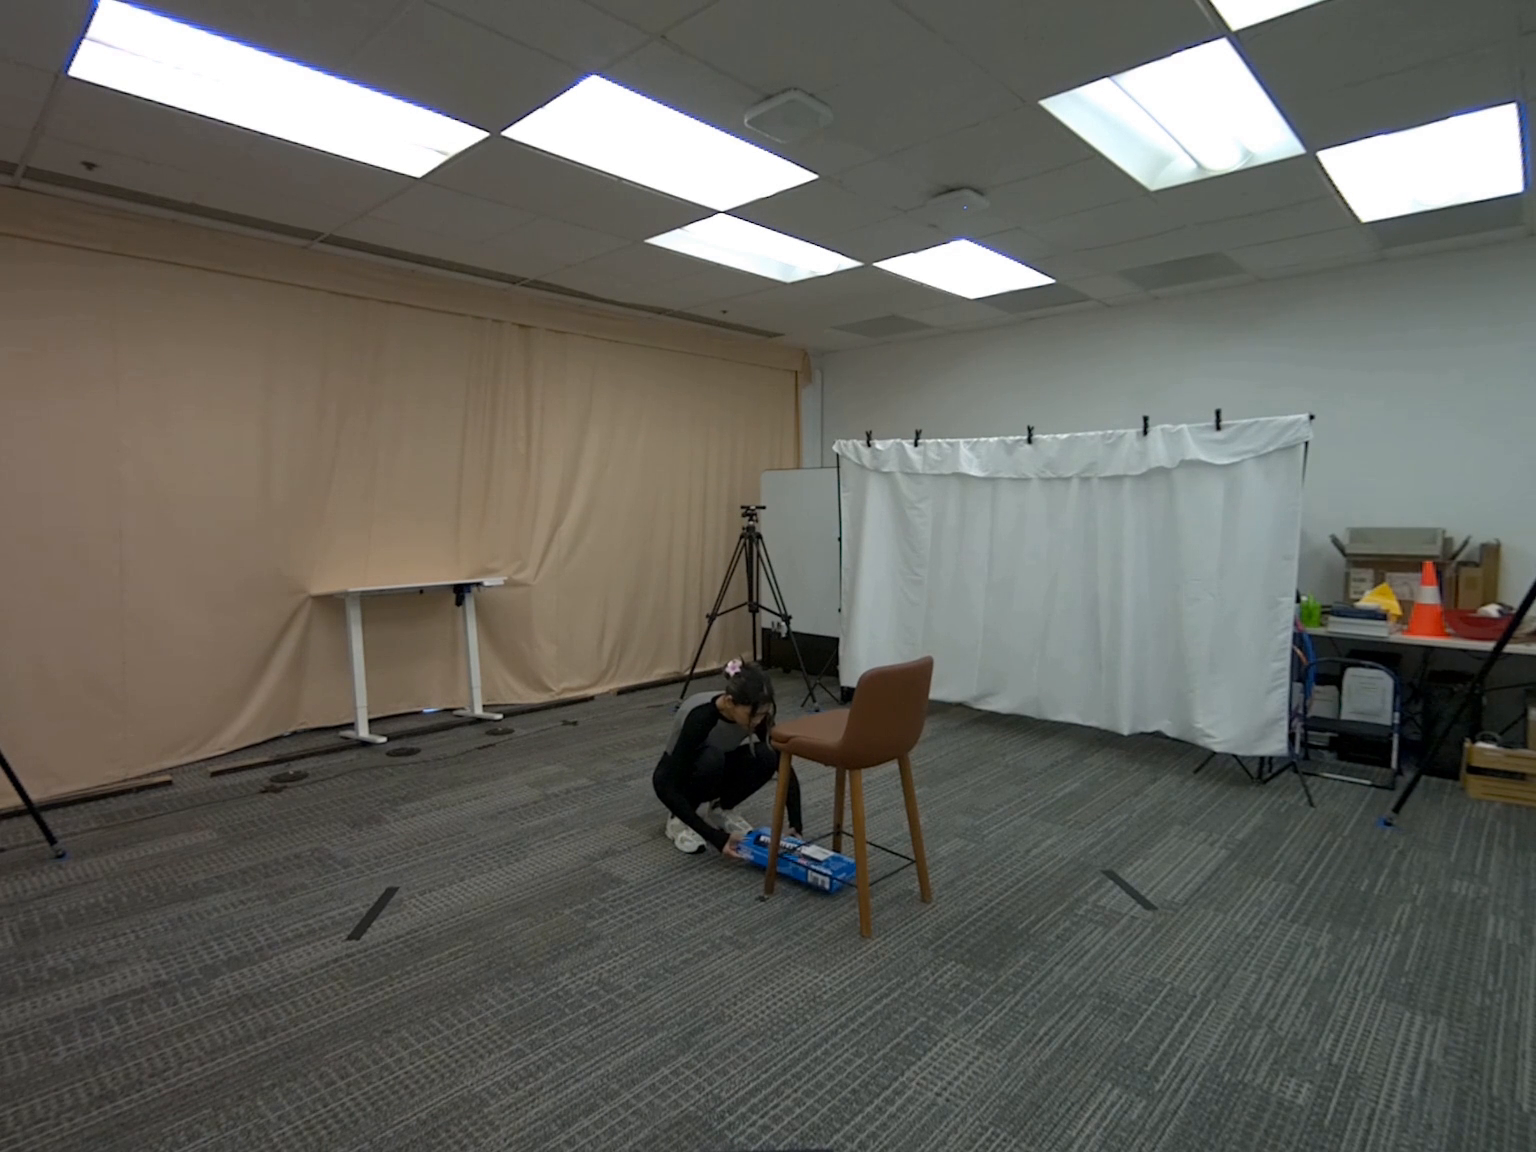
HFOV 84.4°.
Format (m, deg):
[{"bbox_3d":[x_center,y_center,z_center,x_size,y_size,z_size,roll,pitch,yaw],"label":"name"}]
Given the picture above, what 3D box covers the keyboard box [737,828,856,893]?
[{"bbox_3d":[0.110,1.051,3.150,0.452,0.059,0.171,7,9,39],"label":"keyboard box"}]
